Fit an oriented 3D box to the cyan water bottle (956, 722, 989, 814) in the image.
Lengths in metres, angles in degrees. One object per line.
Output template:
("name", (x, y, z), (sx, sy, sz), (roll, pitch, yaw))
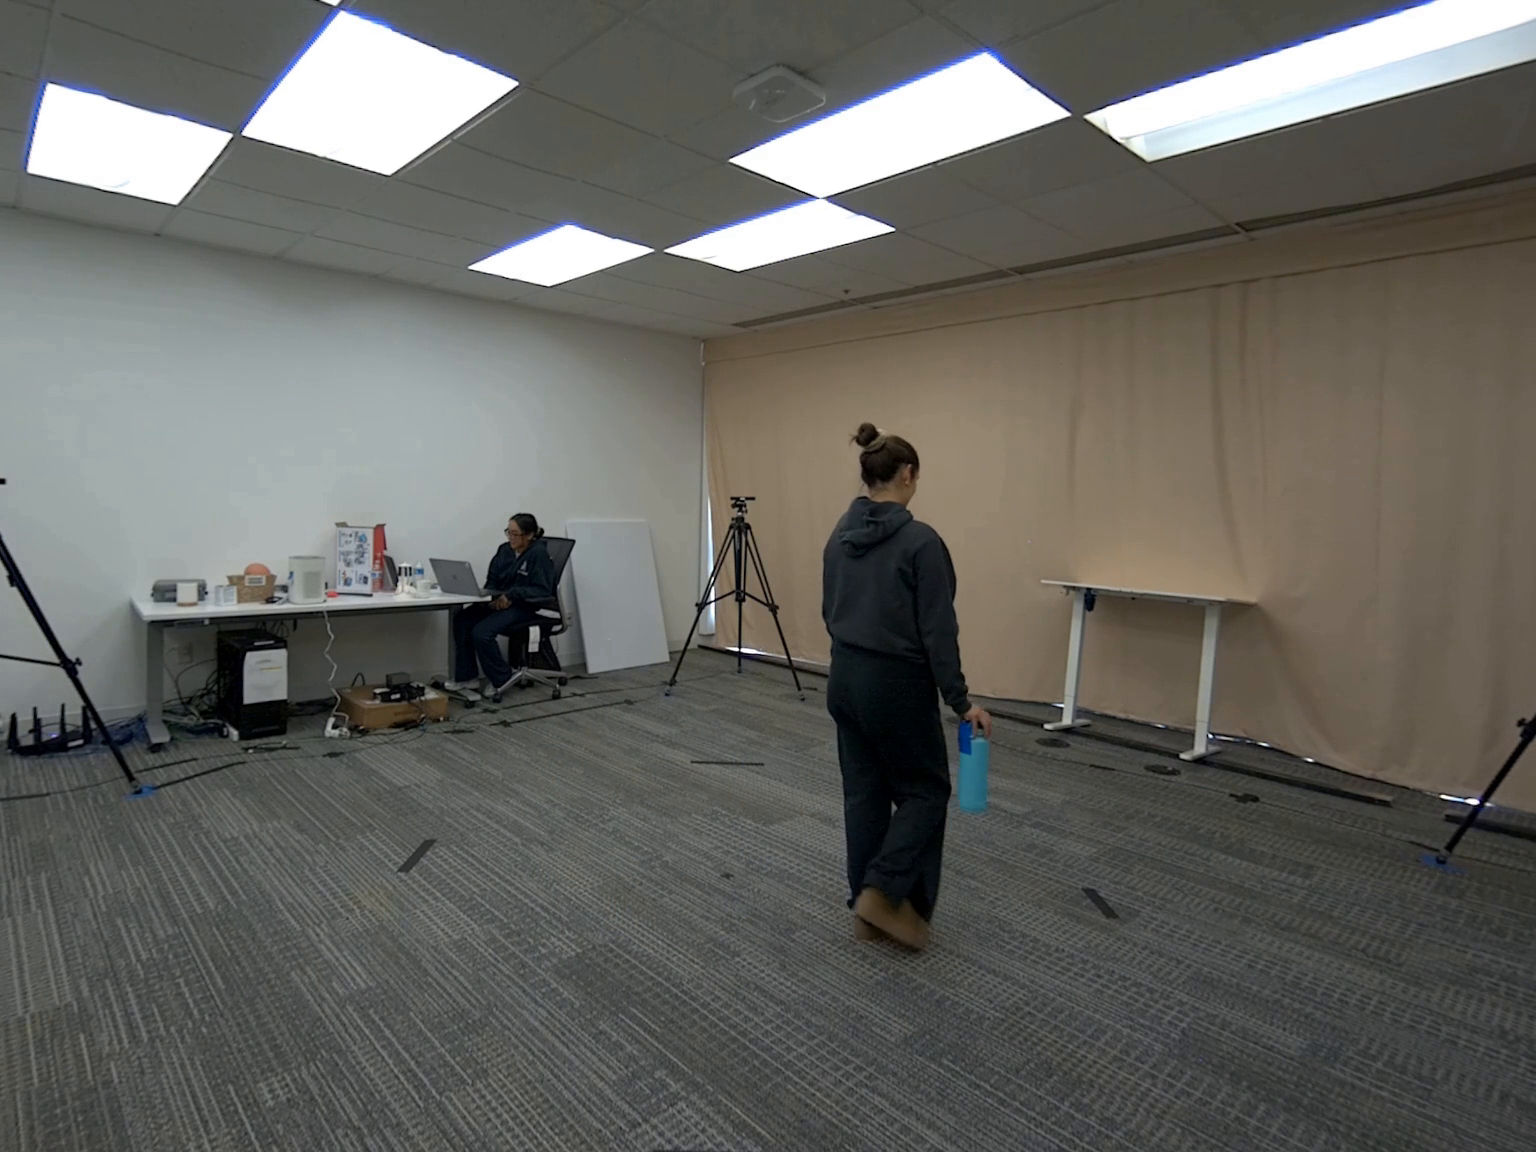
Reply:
("cyan water bottle", (0.617, 0.573, 2.574), (0.092, 0.283, 0.092), (2, 4, -2))
